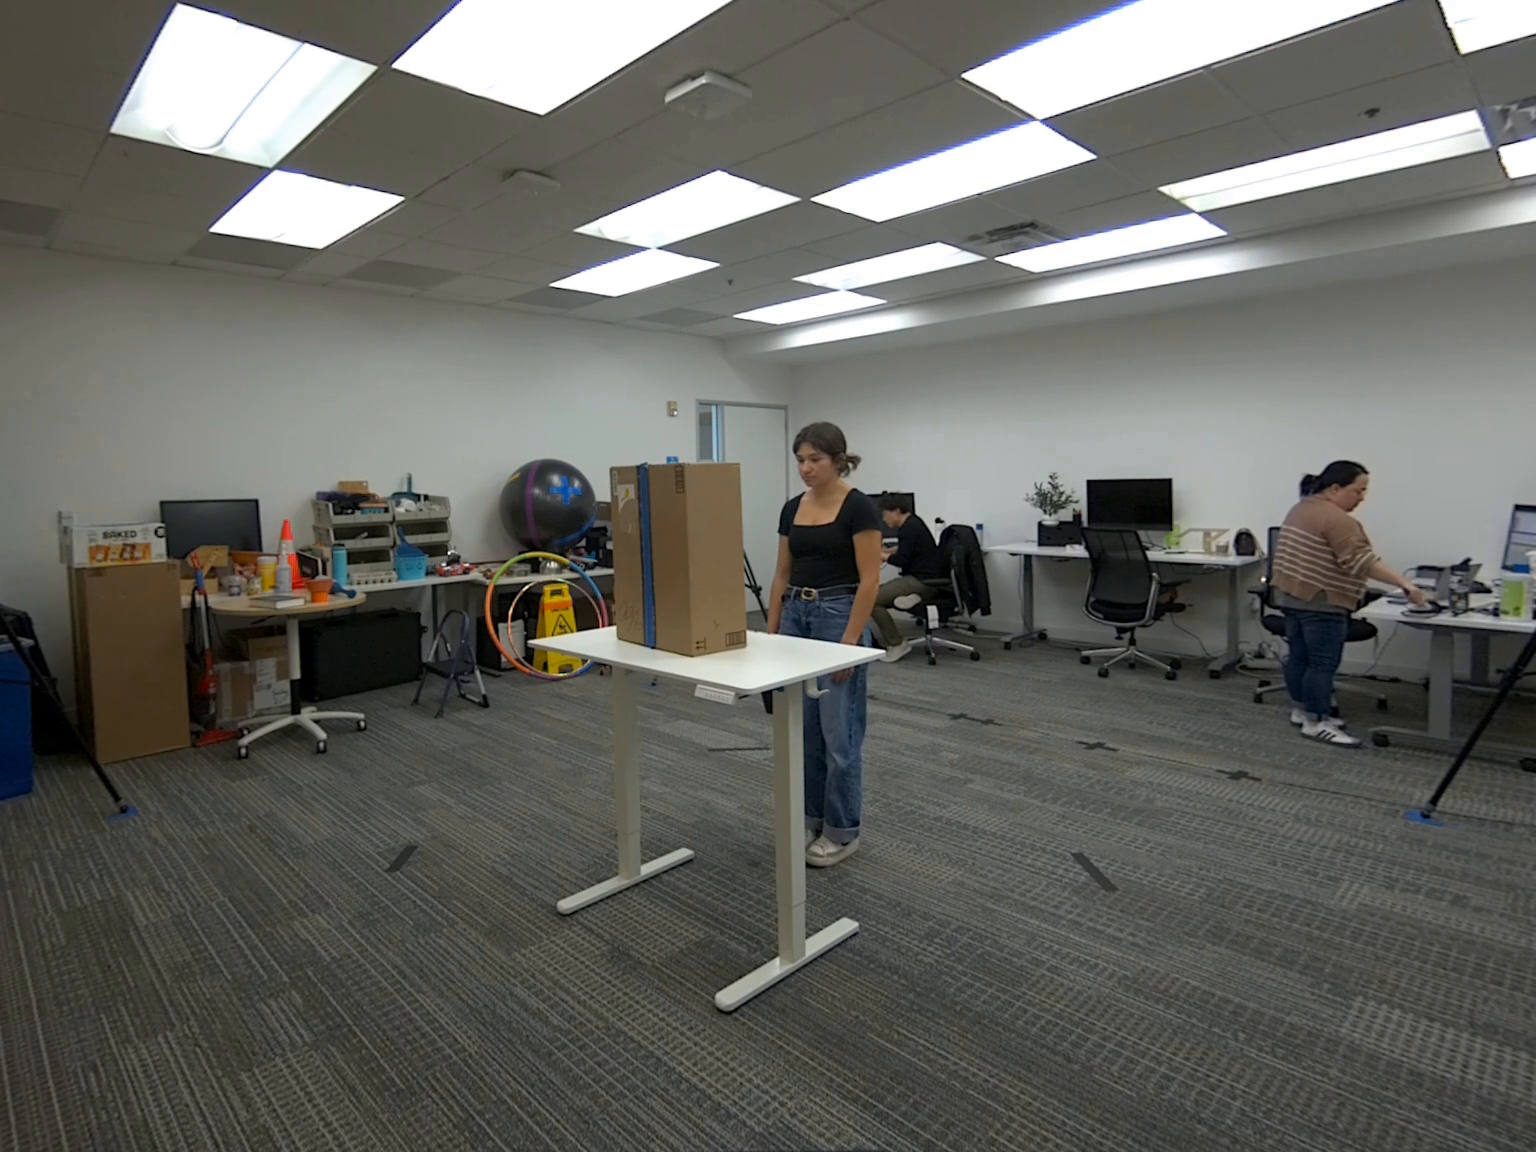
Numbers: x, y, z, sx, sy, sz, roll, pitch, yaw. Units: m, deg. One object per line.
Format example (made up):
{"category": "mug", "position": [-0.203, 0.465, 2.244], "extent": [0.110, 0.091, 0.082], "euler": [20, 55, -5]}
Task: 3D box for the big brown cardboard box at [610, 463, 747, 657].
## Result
{"category": "big brown cardboard box", "position": [-0.287, -0.075, 2.692], "extent": [0.227, 0.587, 0.430], "euler": [-6, 5, -40]}
